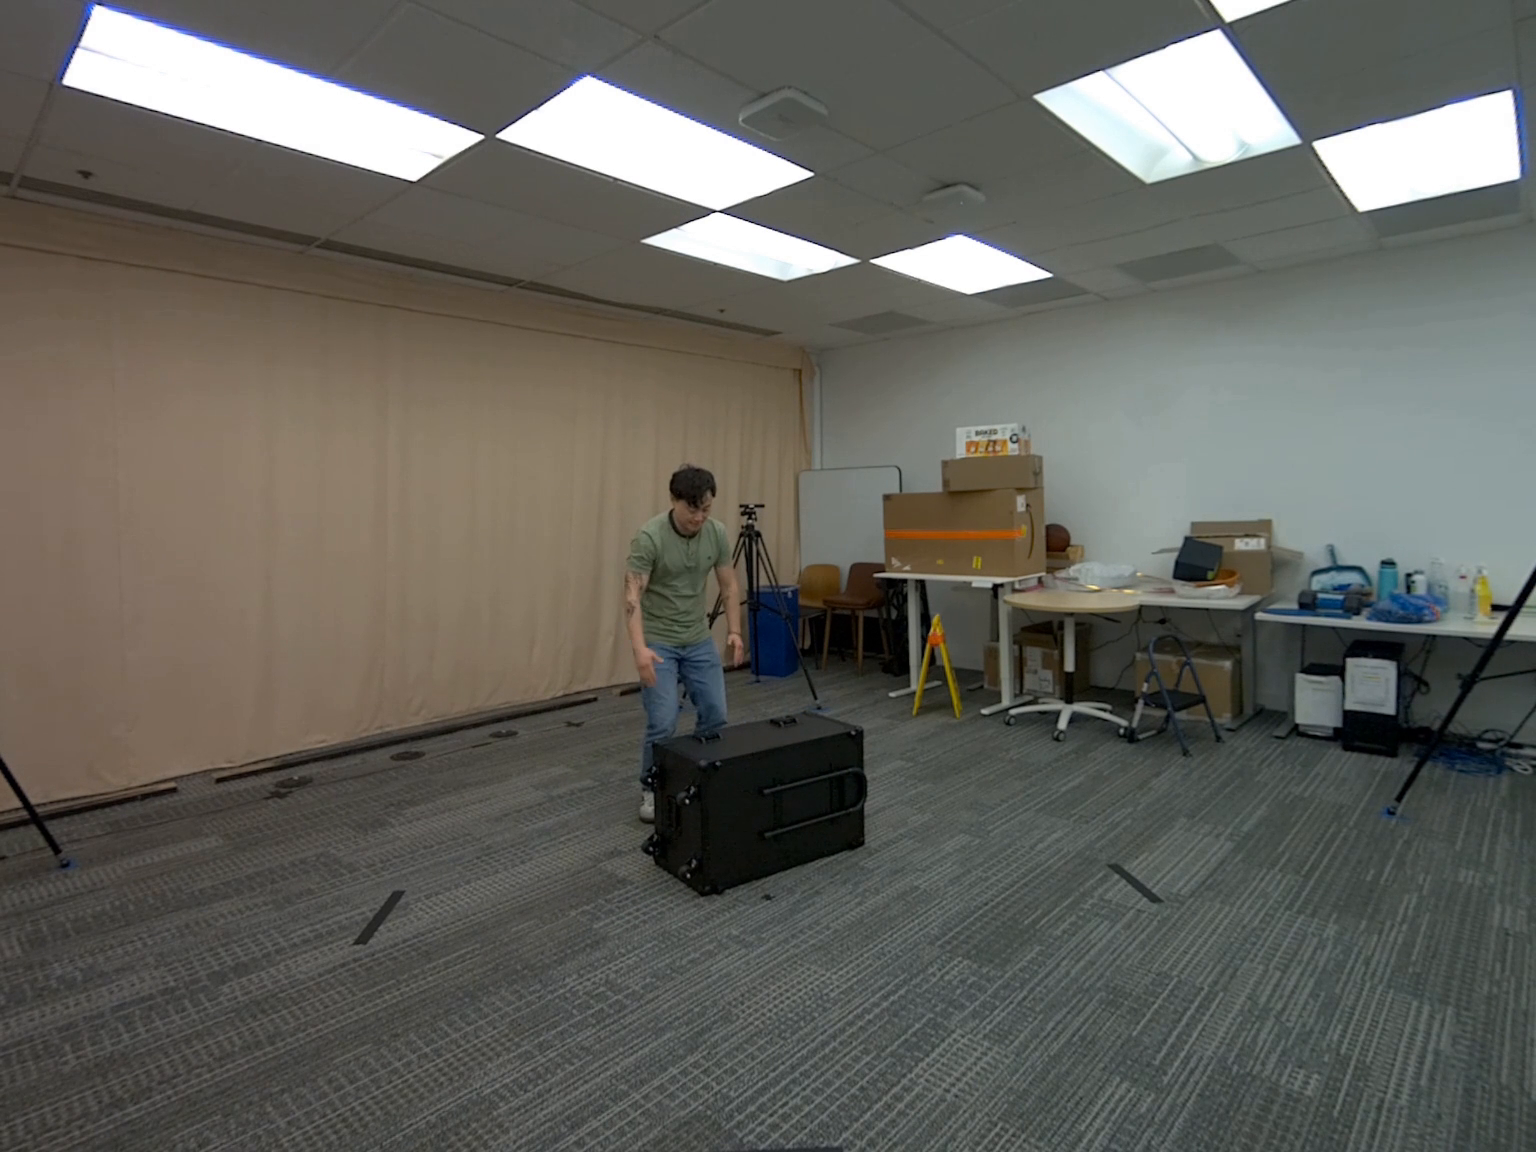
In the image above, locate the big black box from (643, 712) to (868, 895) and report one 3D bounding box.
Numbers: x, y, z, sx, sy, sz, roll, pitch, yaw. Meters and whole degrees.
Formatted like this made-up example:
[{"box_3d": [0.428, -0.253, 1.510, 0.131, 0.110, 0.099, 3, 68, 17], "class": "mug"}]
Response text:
[{"box_3d": [-0.043, 0.871, 3.308, 0.837, 0.520, 0.408, -4, 5, -34], "class": "big black box"}]
